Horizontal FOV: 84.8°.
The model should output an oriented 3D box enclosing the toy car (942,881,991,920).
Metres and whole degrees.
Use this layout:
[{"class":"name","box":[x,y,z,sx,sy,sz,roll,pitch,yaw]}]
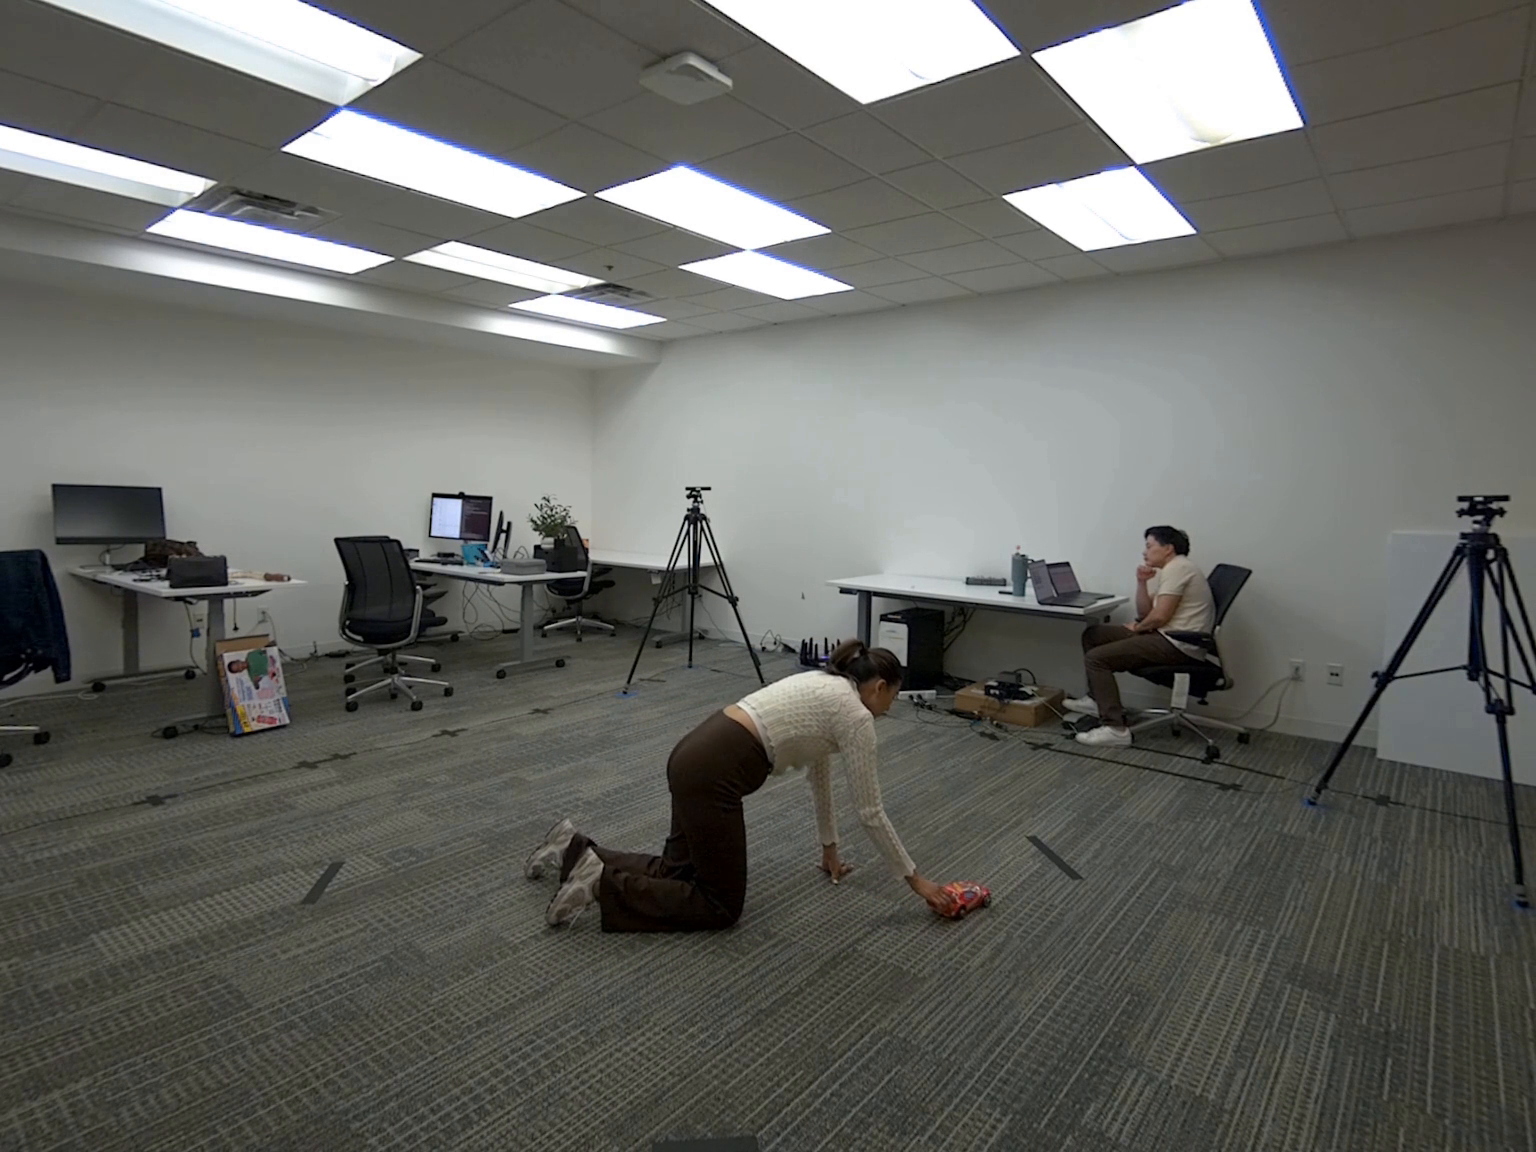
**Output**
[{"class":"toy car","box":[0.629,1.081,2.841,0.245,0.083,0.135,10,-2,-39]}]
